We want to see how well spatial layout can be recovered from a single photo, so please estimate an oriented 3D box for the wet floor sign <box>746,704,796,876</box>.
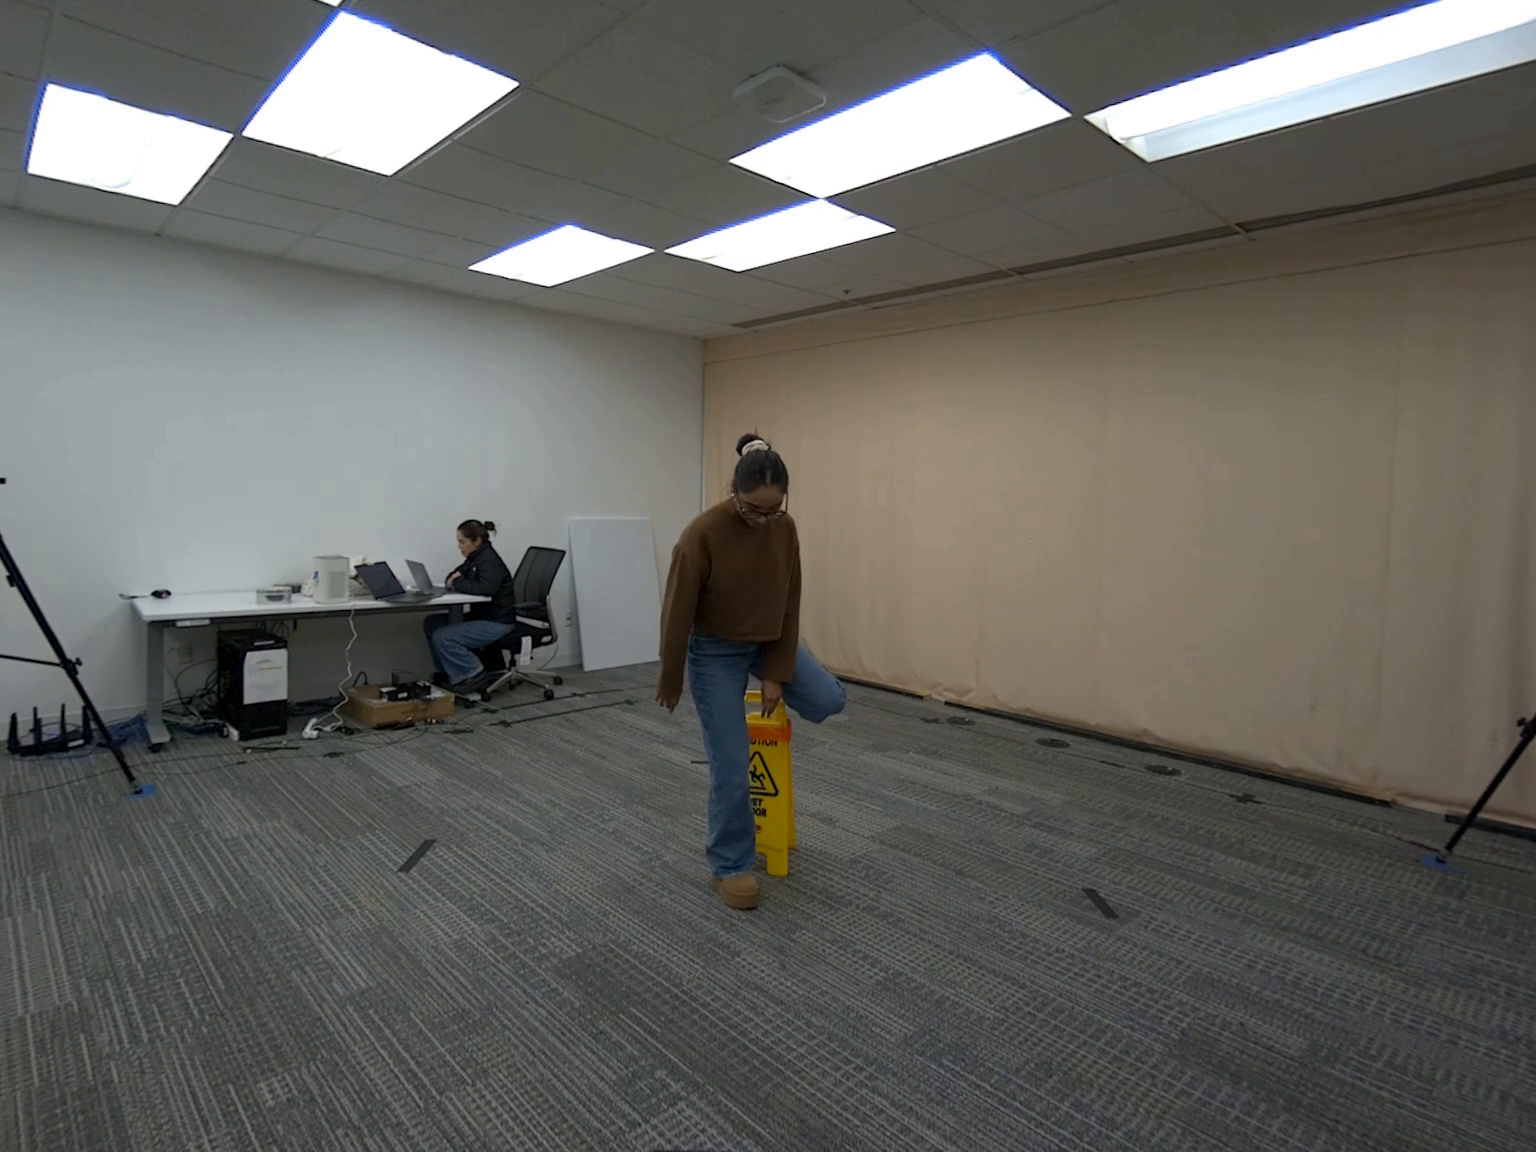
[{"bbox_3d":[-0.052,0.779,3.260,0.285,0.645,0.288,2,2,9],"label":"wet floor sign"}]
